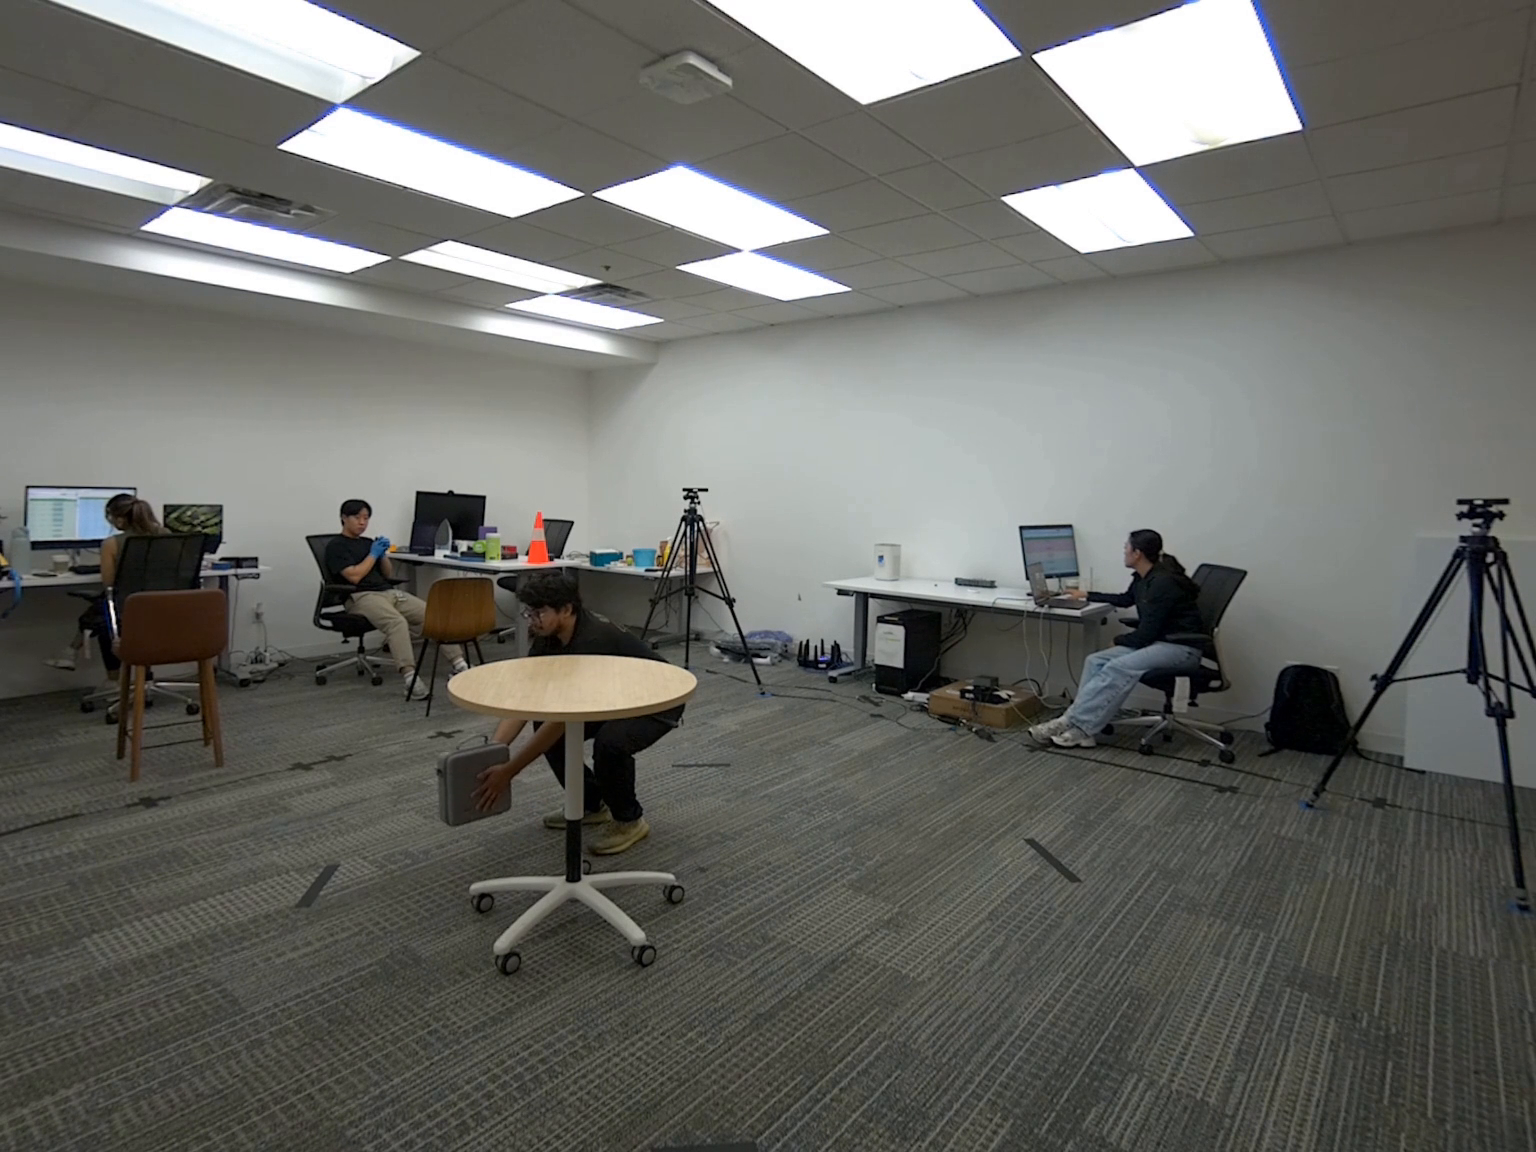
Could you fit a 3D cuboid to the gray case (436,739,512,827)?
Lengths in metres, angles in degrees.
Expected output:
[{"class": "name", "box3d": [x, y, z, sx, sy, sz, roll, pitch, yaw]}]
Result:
[{"class": "gray case", "box3d": [-1.077, 0.739, 3.058, 0.107, 0.261, 0.249, -5, -1, 42]}]
